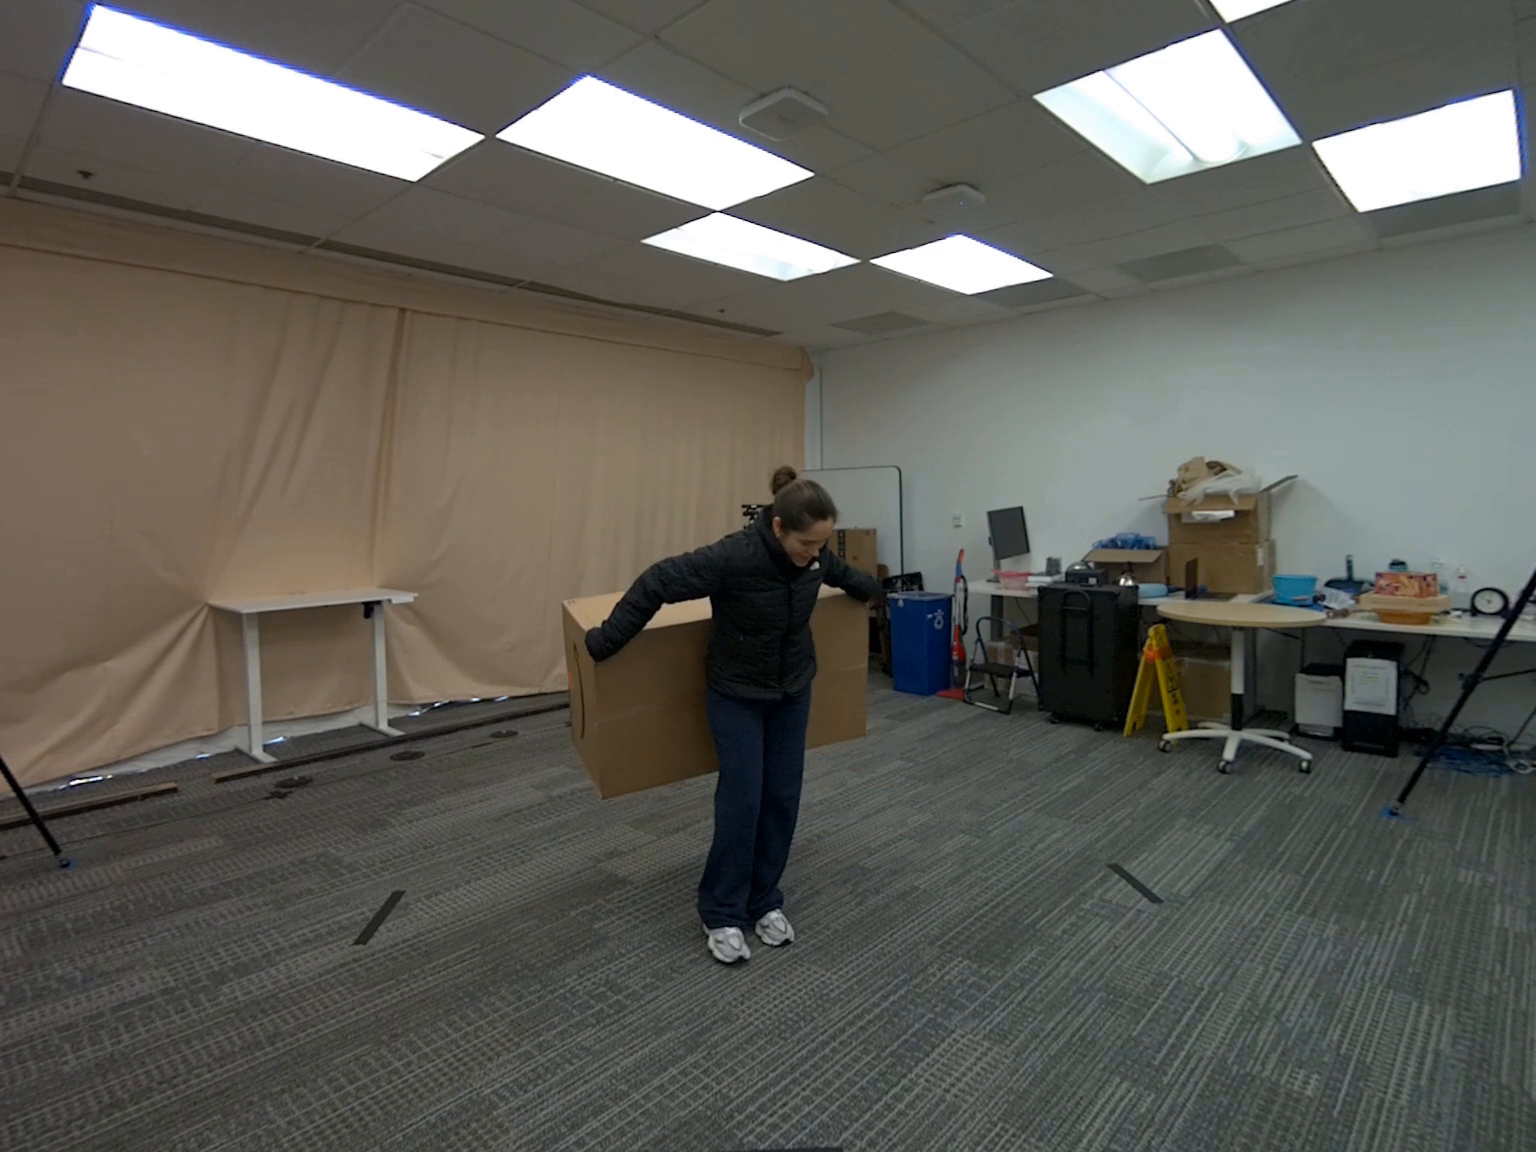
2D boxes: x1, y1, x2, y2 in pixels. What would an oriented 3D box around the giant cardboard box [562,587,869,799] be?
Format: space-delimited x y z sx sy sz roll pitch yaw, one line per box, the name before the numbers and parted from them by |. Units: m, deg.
giant cardboard box | -0.174 0.350 3.081 1.005 0.571 0.439 -8 17 -22
